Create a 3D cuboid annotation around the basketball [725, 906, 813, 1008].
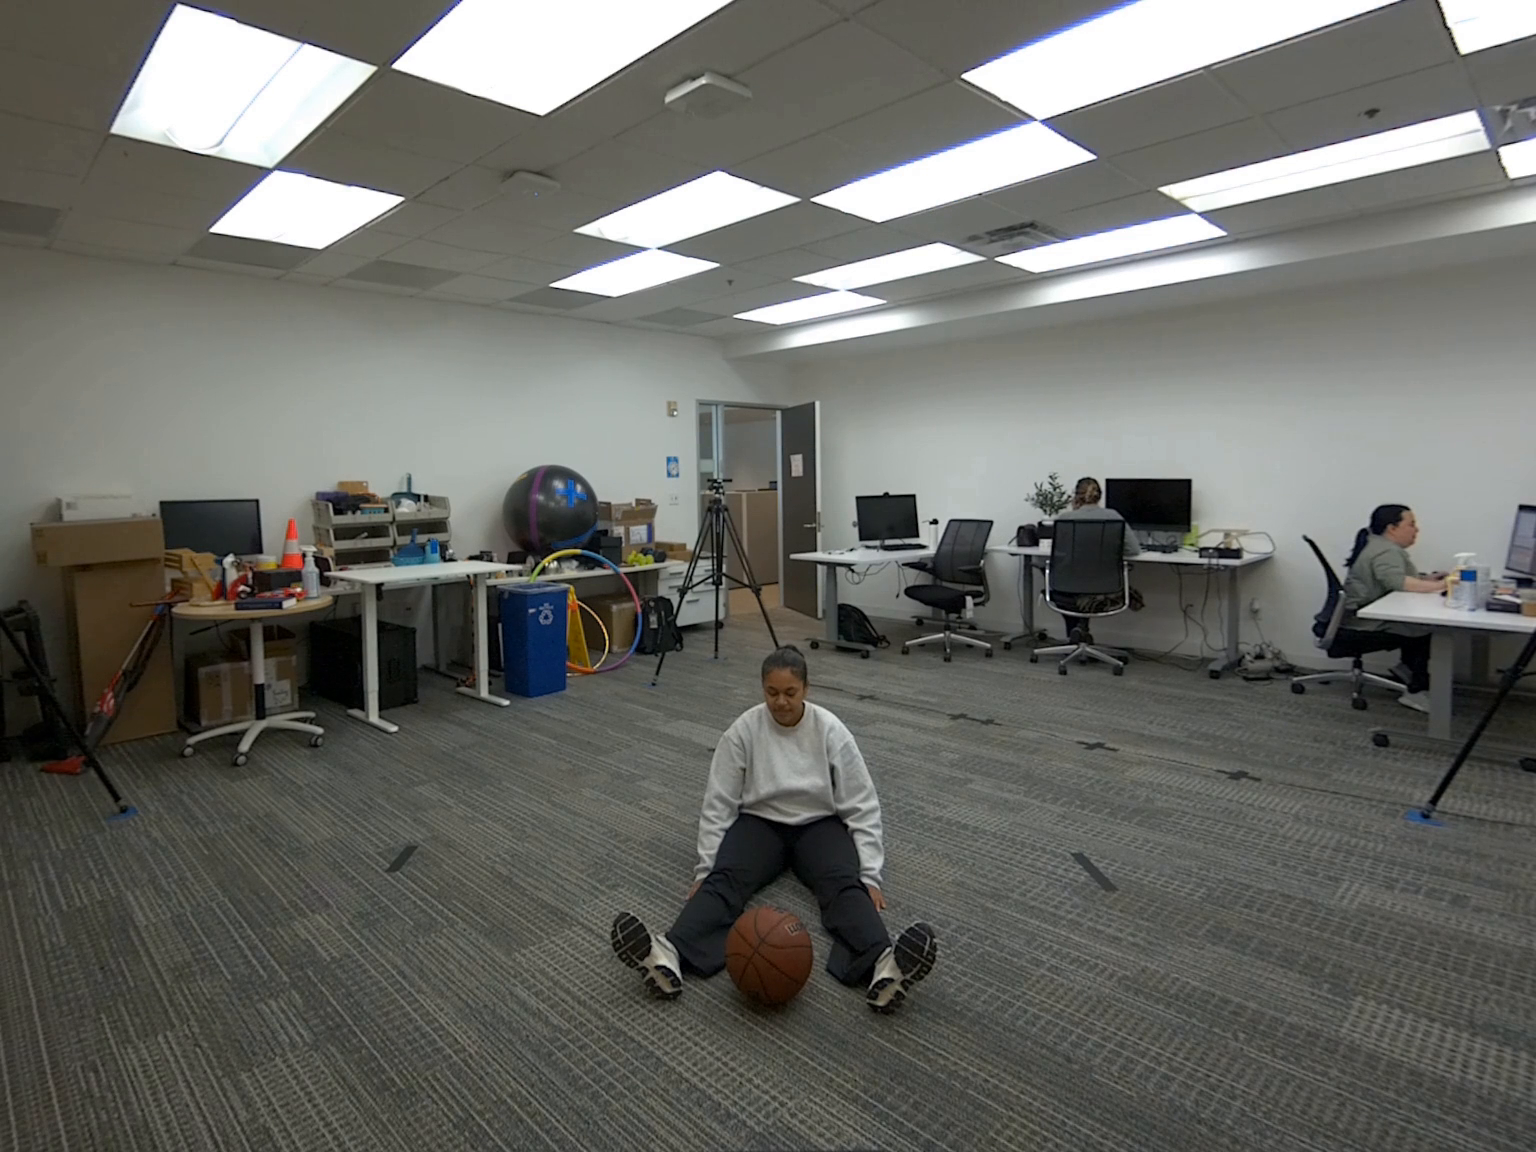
[{"bbox_3d":[0.017,1.024,2.301,0.236,0.235,0.237,-1,5,-2],"label":"basketball"}]
